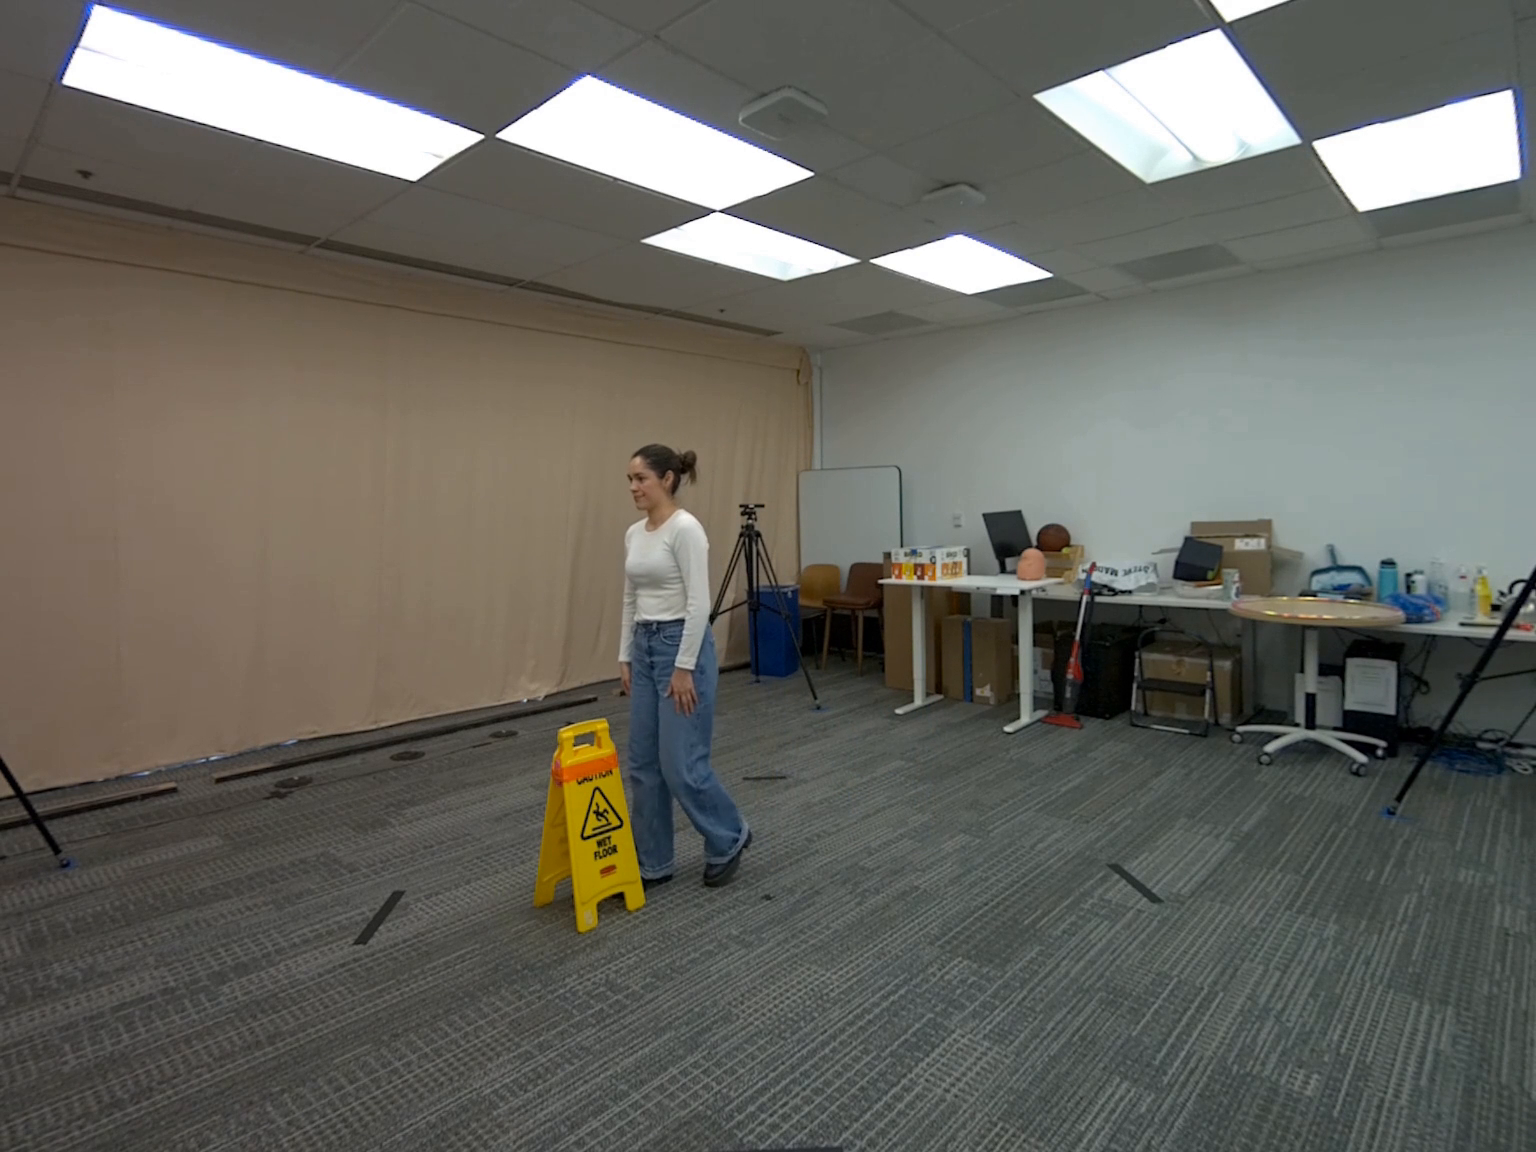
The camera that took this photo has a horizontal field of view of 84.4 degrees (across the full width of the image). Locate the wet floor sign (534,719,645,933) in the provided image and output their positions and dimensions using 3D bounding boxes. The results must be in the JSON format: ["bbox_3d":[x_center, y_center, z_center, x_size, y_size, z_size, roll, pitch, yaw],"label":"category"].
[{"bbox_3d":[-0.630,0.835,2.928,0.299,0.644,0.274,3,6,44],"label":"wet floor sign"}]
